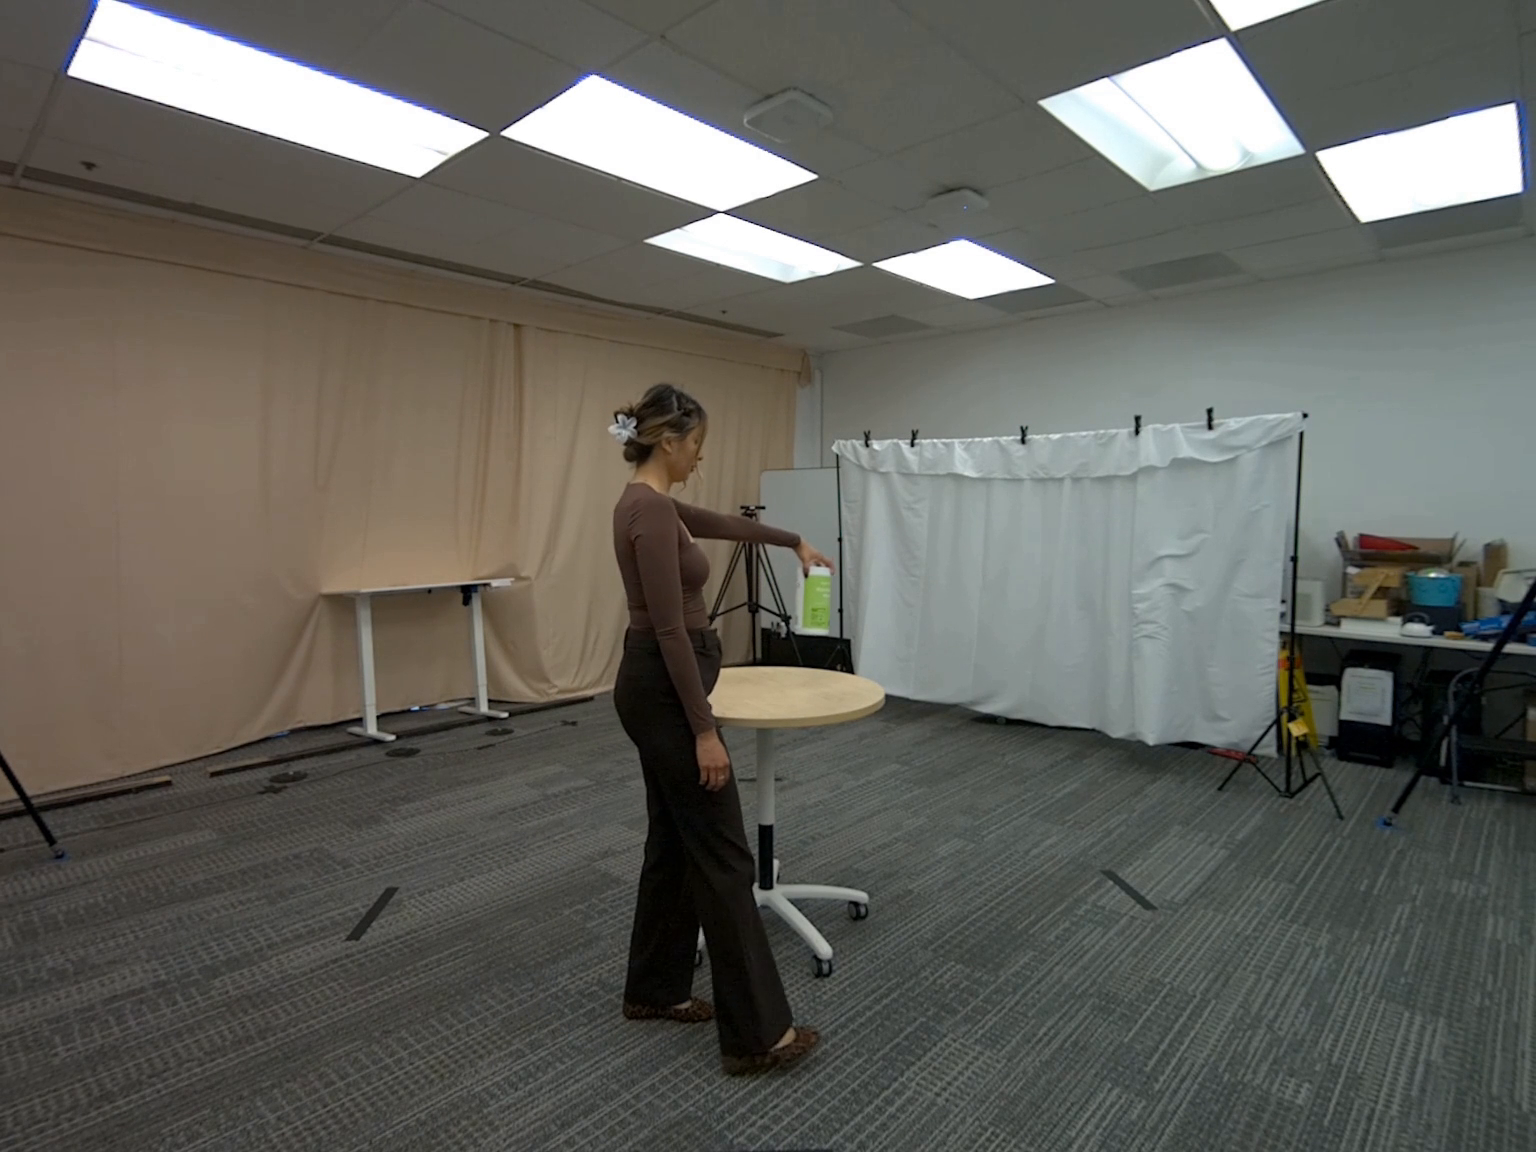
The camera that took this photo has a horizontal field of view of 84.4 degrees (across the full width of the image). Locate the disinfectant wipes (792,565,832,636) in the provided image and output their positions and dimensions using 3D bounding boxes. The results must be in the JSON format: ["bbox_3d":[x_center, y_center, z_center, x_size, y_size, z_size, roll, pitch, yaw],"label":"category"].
[{"bbox_3d":[0.145,0.082,2.683,0.118,0.218,0.118,2,-3,-2],"label":"disinfectant wipes"}]
